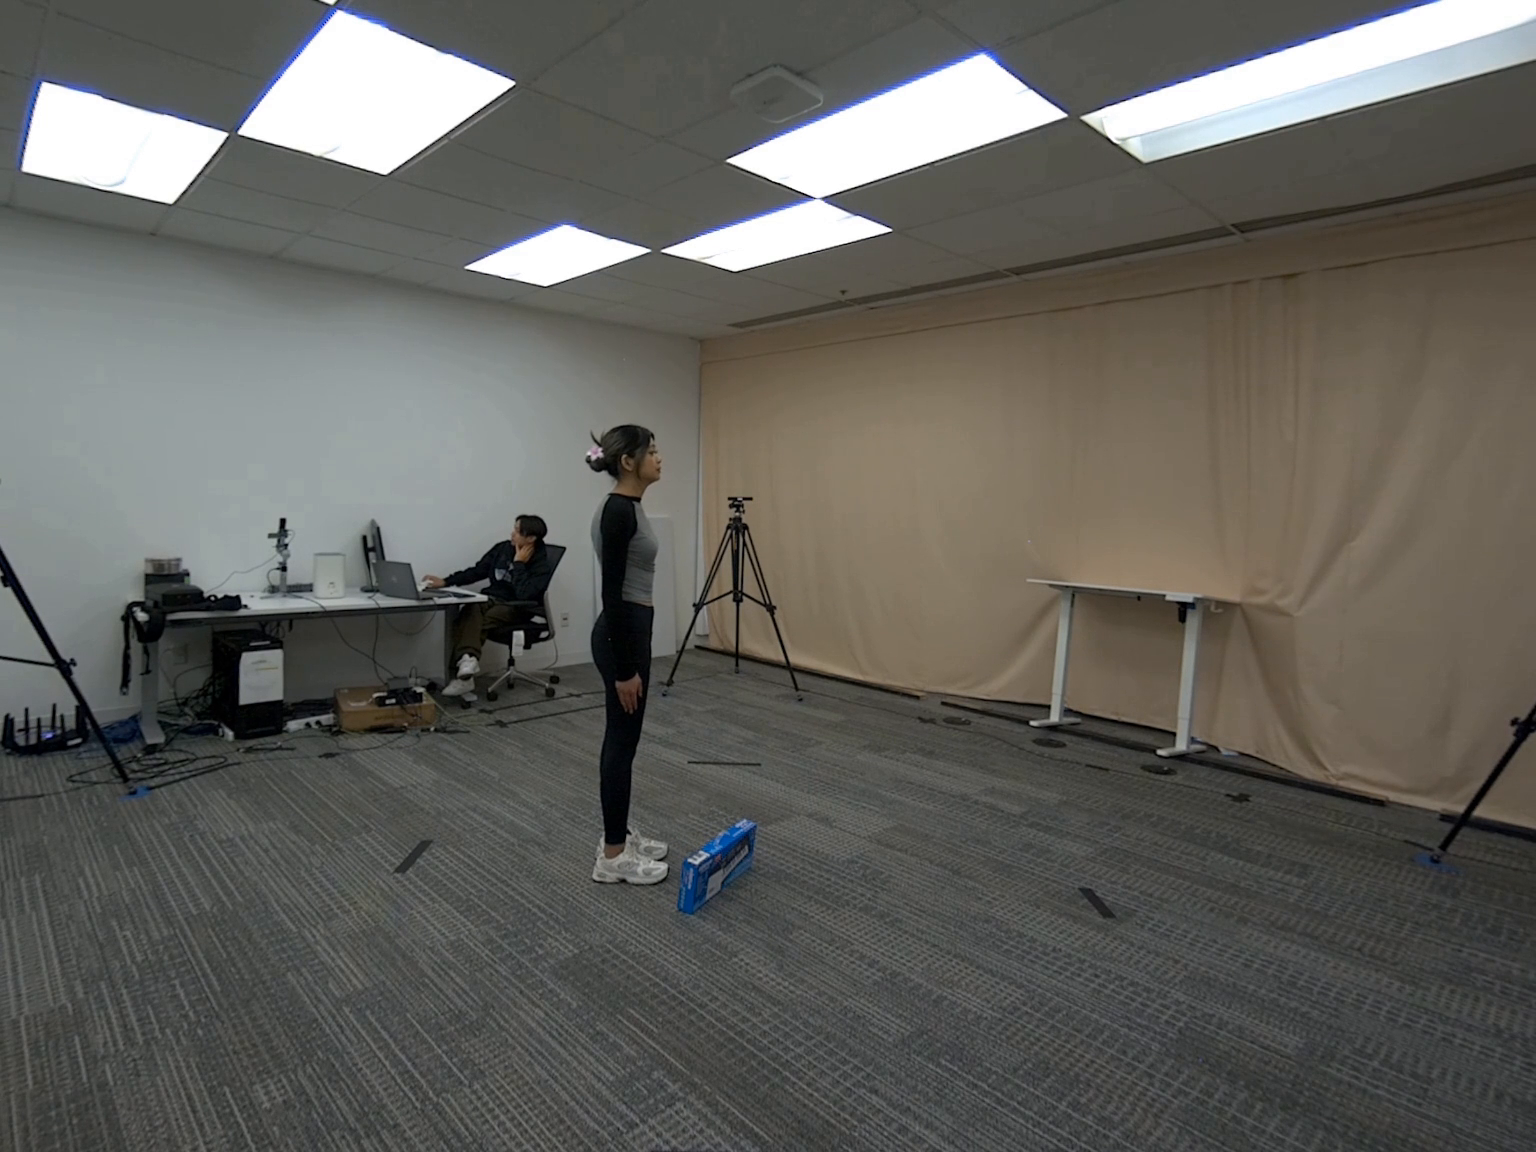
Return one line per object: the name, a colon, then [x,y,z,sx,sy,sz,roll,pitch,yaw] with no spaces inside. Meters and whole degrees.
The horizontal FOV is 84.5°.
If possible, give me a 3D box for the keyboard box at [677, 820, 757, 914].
keyboard box: [-0.179,1.029,3.001,0.060,0.175,0.429,10,9,25]
